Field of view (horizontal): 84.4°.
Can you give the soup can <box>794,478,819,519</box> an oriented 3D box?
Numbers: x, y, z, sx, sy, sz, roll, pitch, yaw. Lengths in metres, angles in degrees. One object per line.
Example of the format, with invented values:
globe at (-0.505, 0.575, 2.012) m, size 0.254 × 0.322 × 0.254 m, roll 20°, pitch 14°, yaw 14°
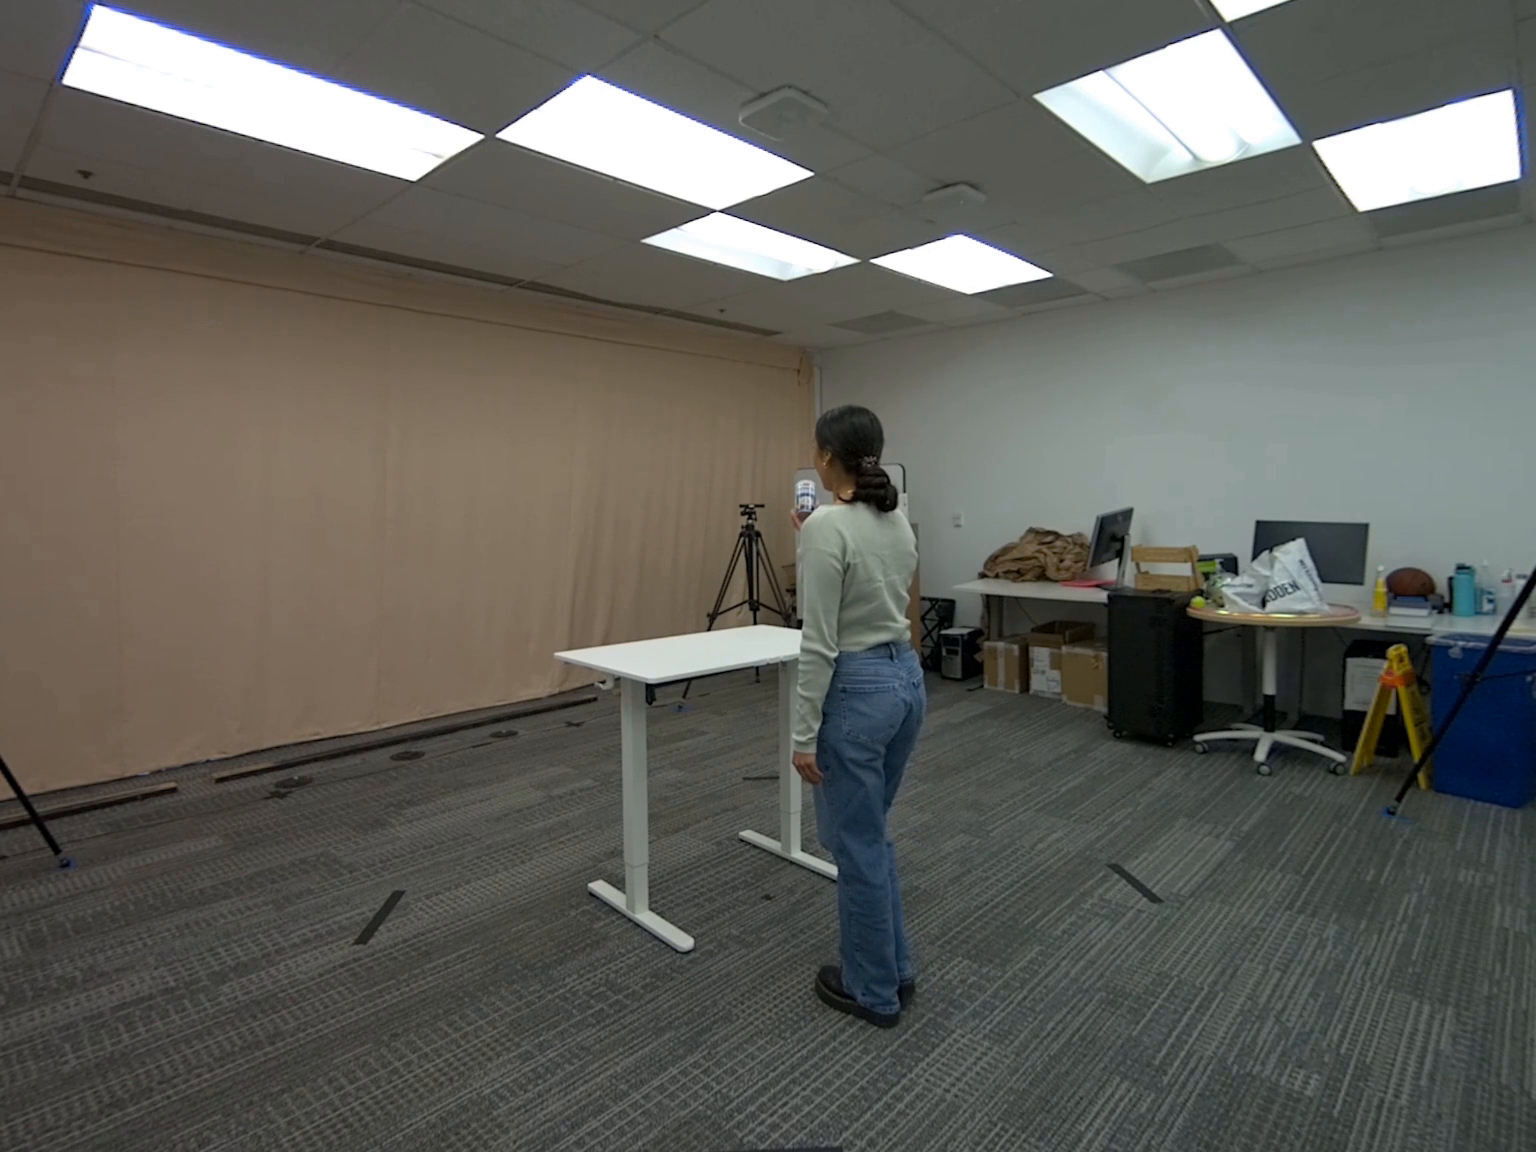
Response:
soup can at (0.126, -0.236, 2.599) m, size 0.067 × 0.123 × 0.066 m, roll -2°, pitch -26°, yaw -3°
